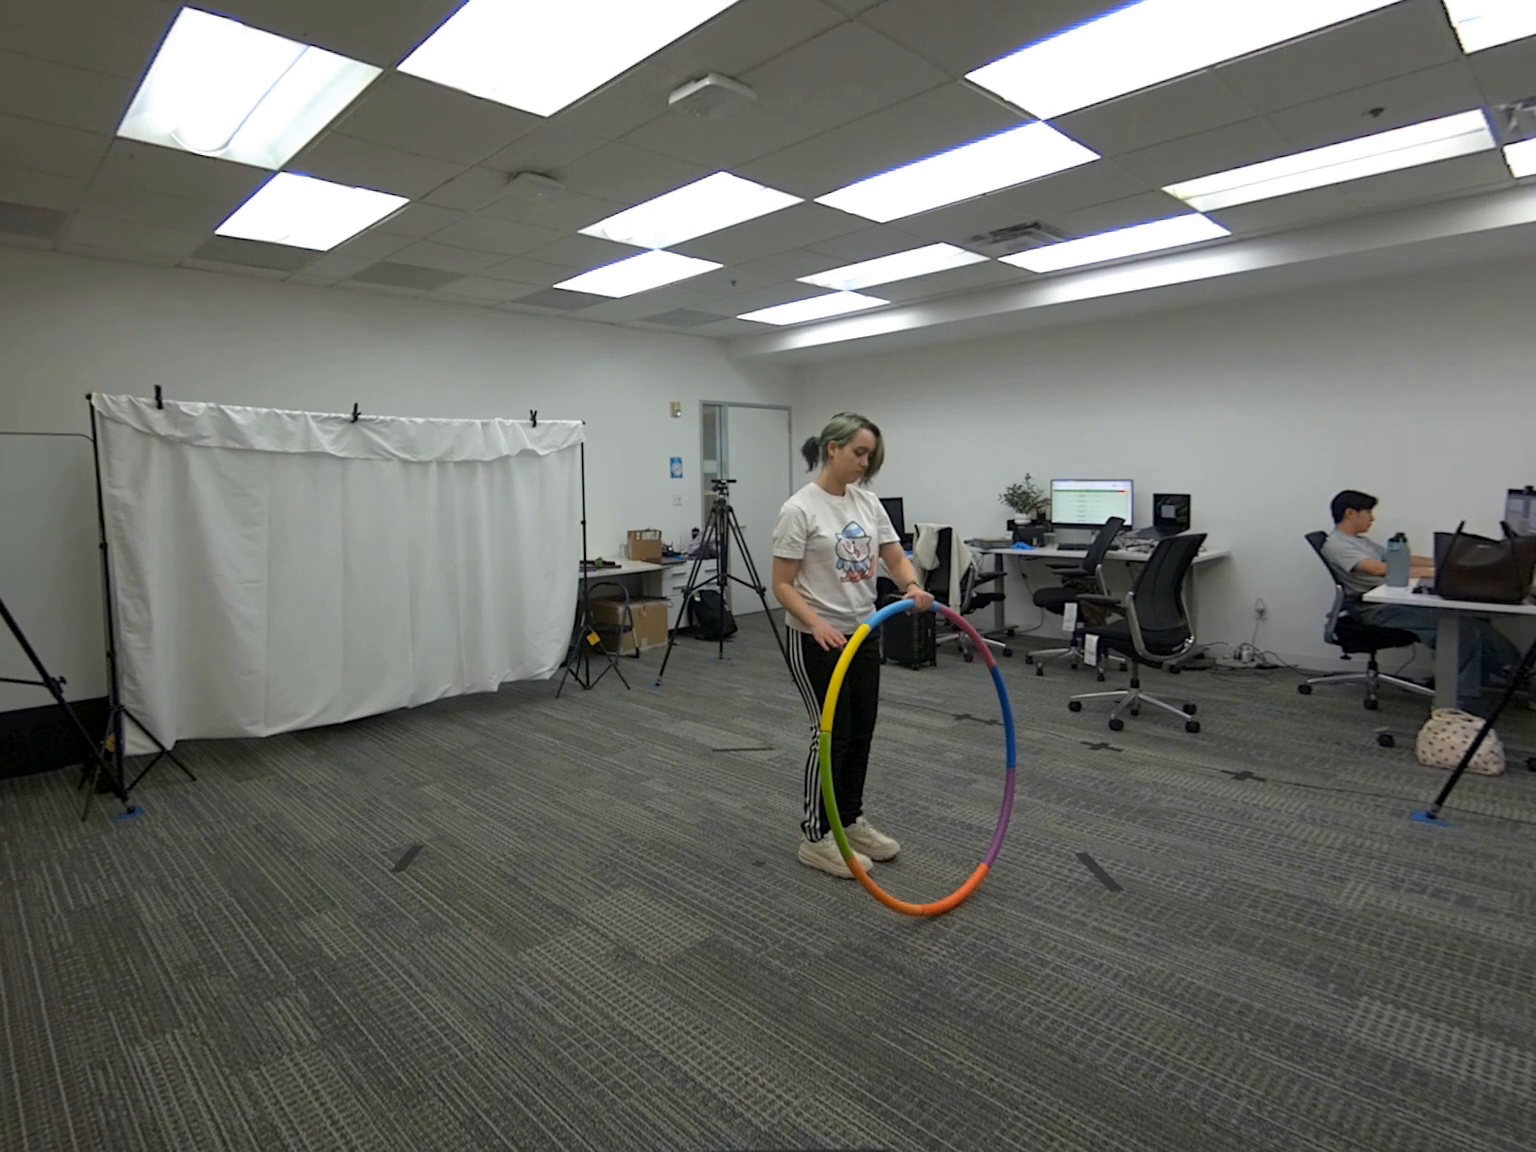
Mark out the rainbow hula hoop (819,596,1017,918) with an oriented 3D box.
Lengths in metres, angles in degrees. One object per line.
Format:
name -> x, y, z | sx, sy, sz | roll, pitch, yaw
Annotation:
rainbow hula hoop -> 0.516, 0.563, 2.792 | 0.953, 0.983, 0.036 | -5, -5, -41
